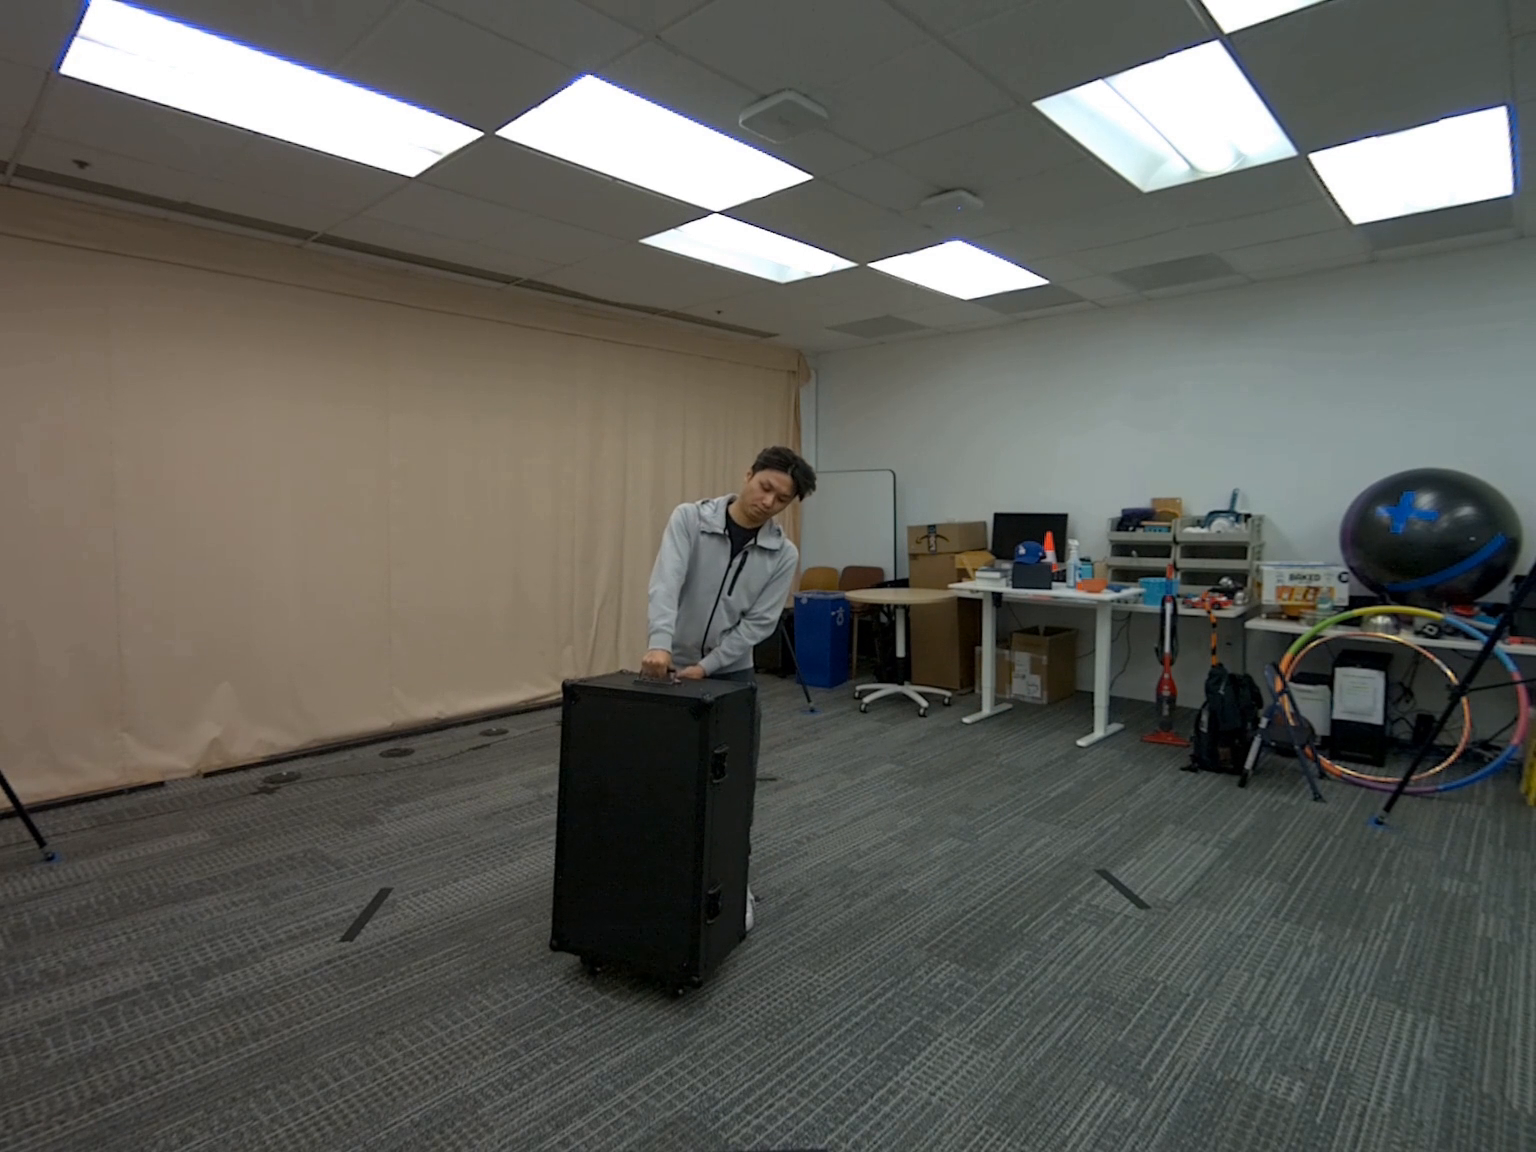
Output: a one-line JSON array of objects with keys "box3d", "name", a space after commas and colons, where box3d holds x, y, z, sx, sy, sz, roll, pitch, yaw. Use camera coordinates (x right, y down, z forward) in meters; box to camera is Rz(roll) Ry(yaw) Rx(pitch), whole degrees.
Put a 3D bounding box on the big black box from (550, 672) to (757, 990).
[{"box3d": [-0.338, 0.744, 2.546, 0.534, 0.862, 0.386, 2, -2, 23], "name": "big black box"}]
